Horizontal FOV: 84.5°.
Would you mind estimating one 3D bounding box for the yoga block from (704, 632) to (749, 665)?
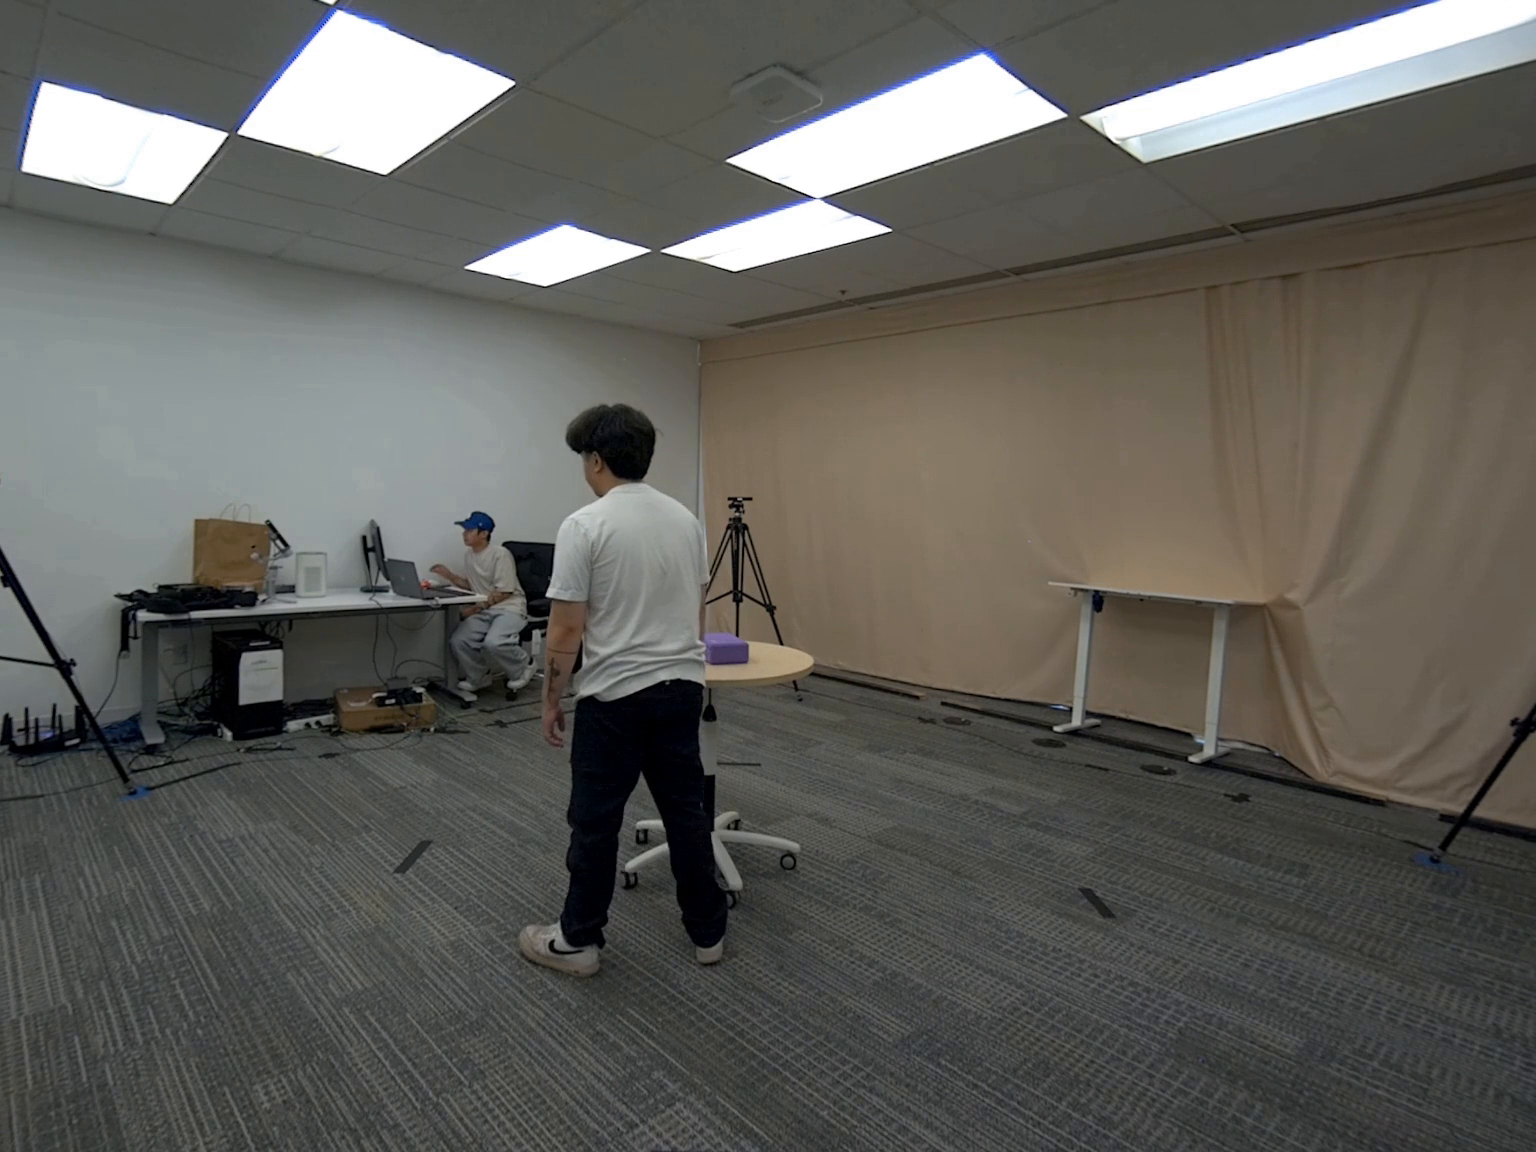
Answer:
[{"bbox_3d":[-0.181,0.269,3.120,0.147,0.076,0.233,-1,6,-18],"label":"yoga block"}]
